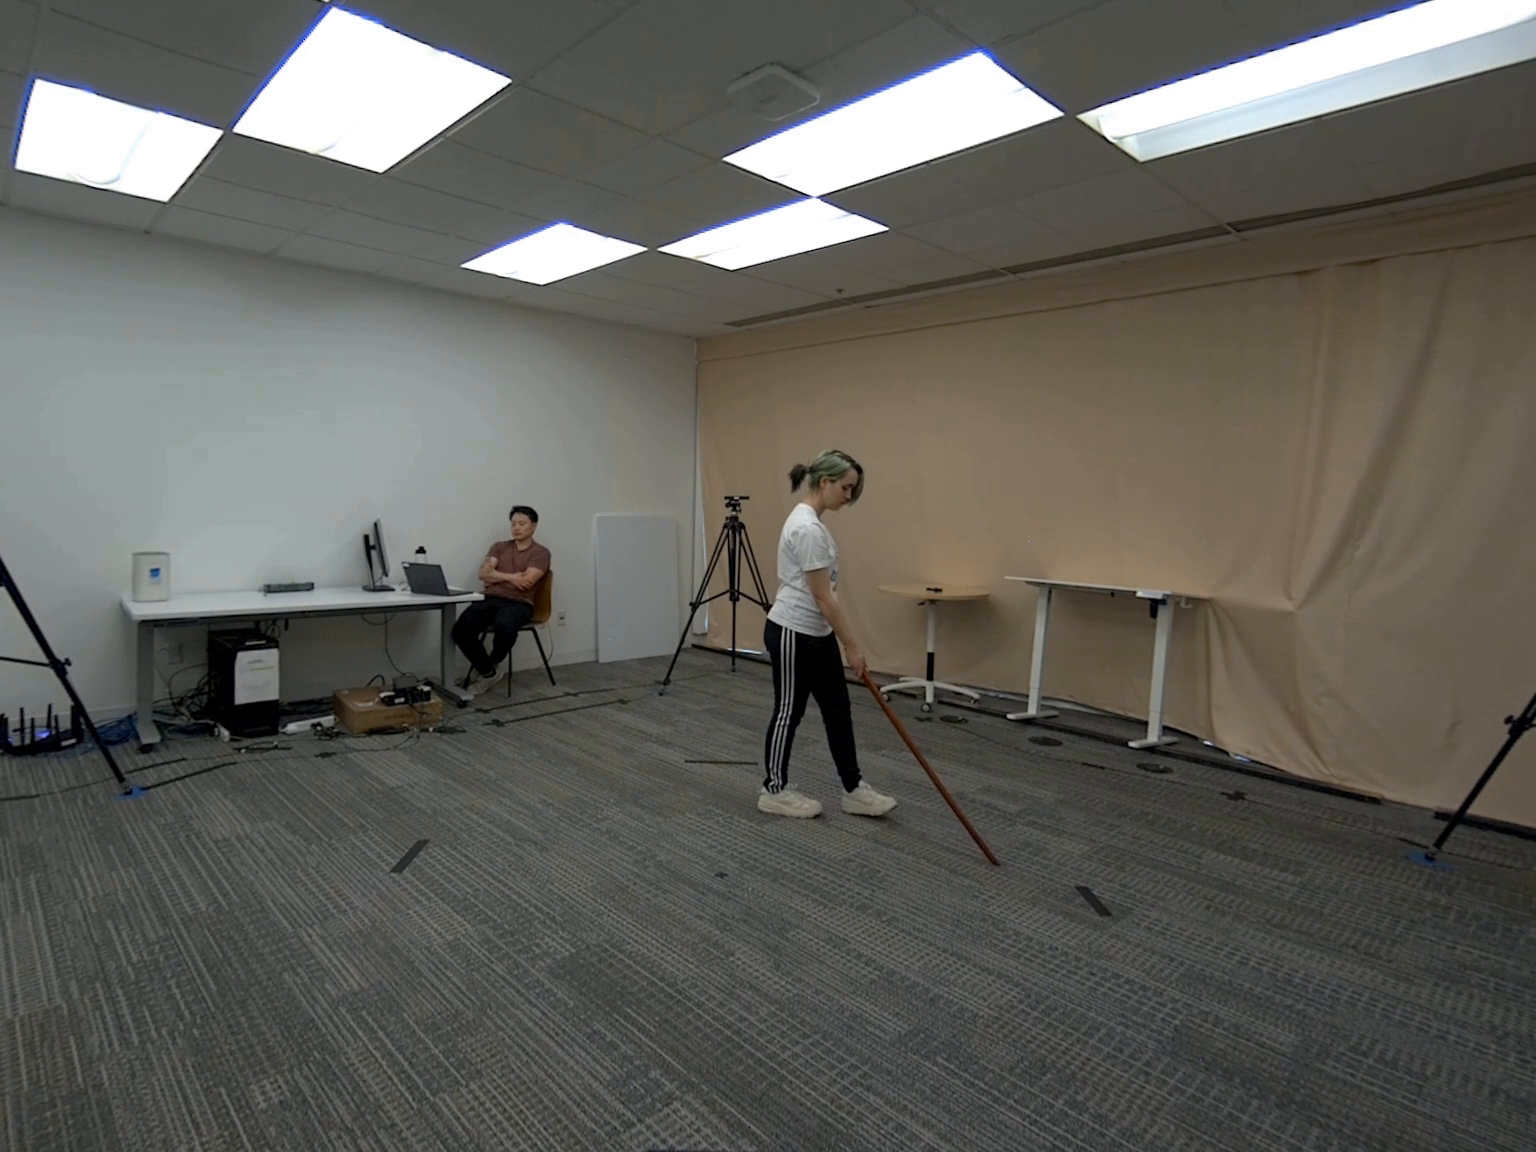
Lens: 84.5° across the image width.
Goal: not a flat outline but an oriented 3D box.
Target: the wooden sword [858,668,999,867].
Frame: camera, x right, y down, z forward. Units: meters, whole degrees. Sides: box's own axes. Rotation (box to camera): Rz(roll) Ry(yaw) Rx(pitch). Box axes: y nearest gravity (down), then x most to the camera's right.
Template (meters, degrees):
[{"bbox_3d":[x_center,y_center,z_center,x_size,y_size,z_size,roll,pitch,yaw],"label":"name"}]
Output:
[{"bbox_3d":[0.612,0.722,3.441,0.024,1.046,0.050,-36,-21,5],"label":"wooden sword"}]
